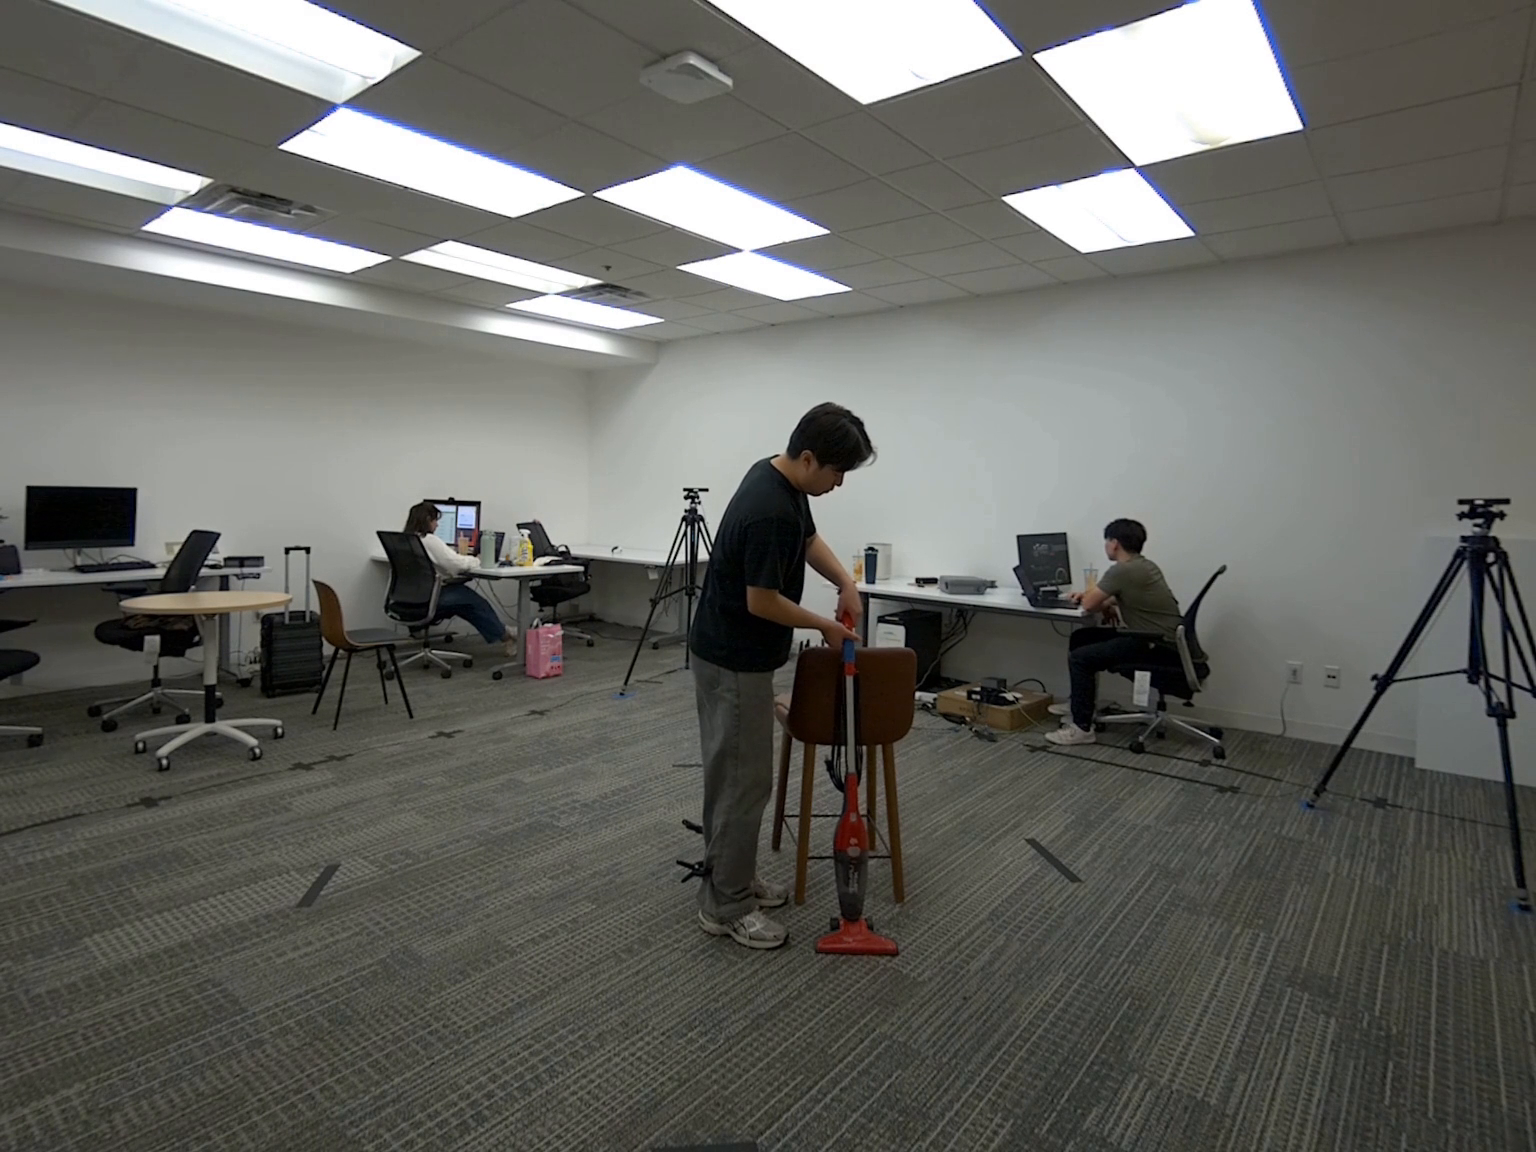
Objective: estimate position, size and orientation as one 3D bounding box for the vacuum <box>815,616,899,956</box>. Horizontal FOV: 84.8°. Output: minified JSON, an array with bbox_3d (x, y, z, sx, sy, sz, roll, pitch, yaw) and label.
[{"bbox_3d":[0.253,0.612,2.676,0.251,1.055,0.144,-1,-6,-6],"label":"vacuum"}]
